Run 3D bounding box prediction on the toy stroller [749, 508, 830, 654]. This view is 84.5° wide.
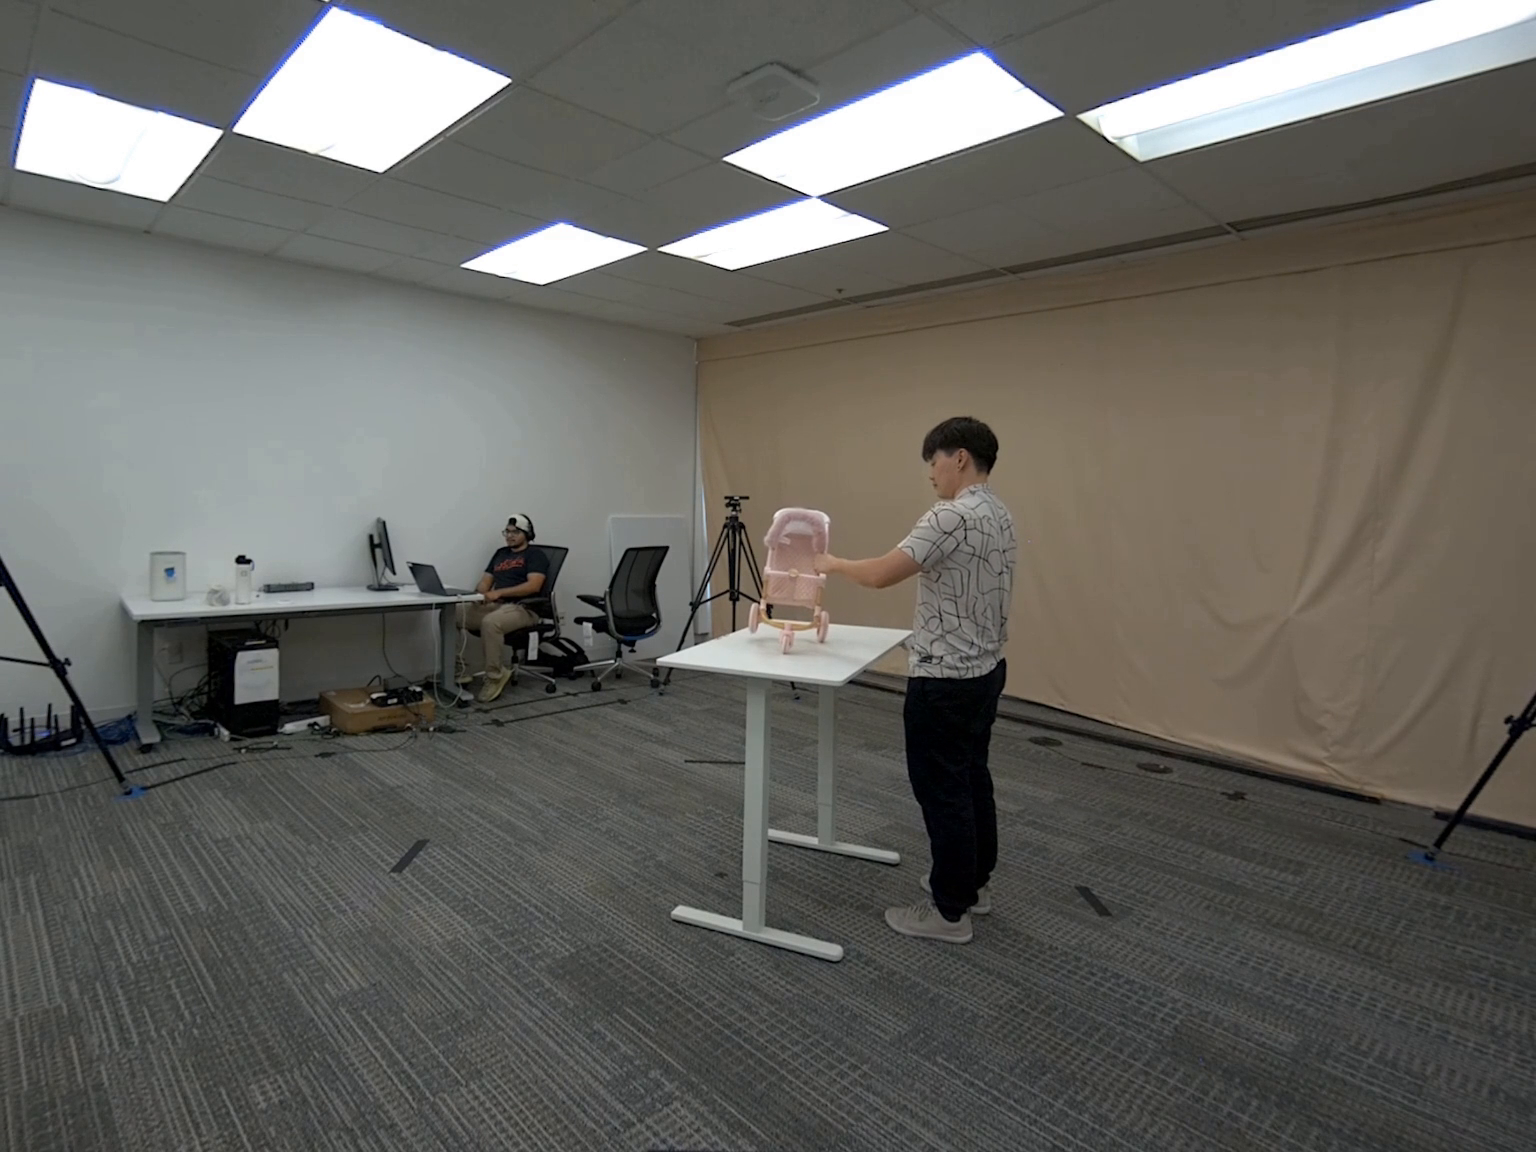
[{"bbox_3d":[0.072,0.003,2.934,0.283,0.537,0.338,7,-5,6],"label":"toy stroller"}]
